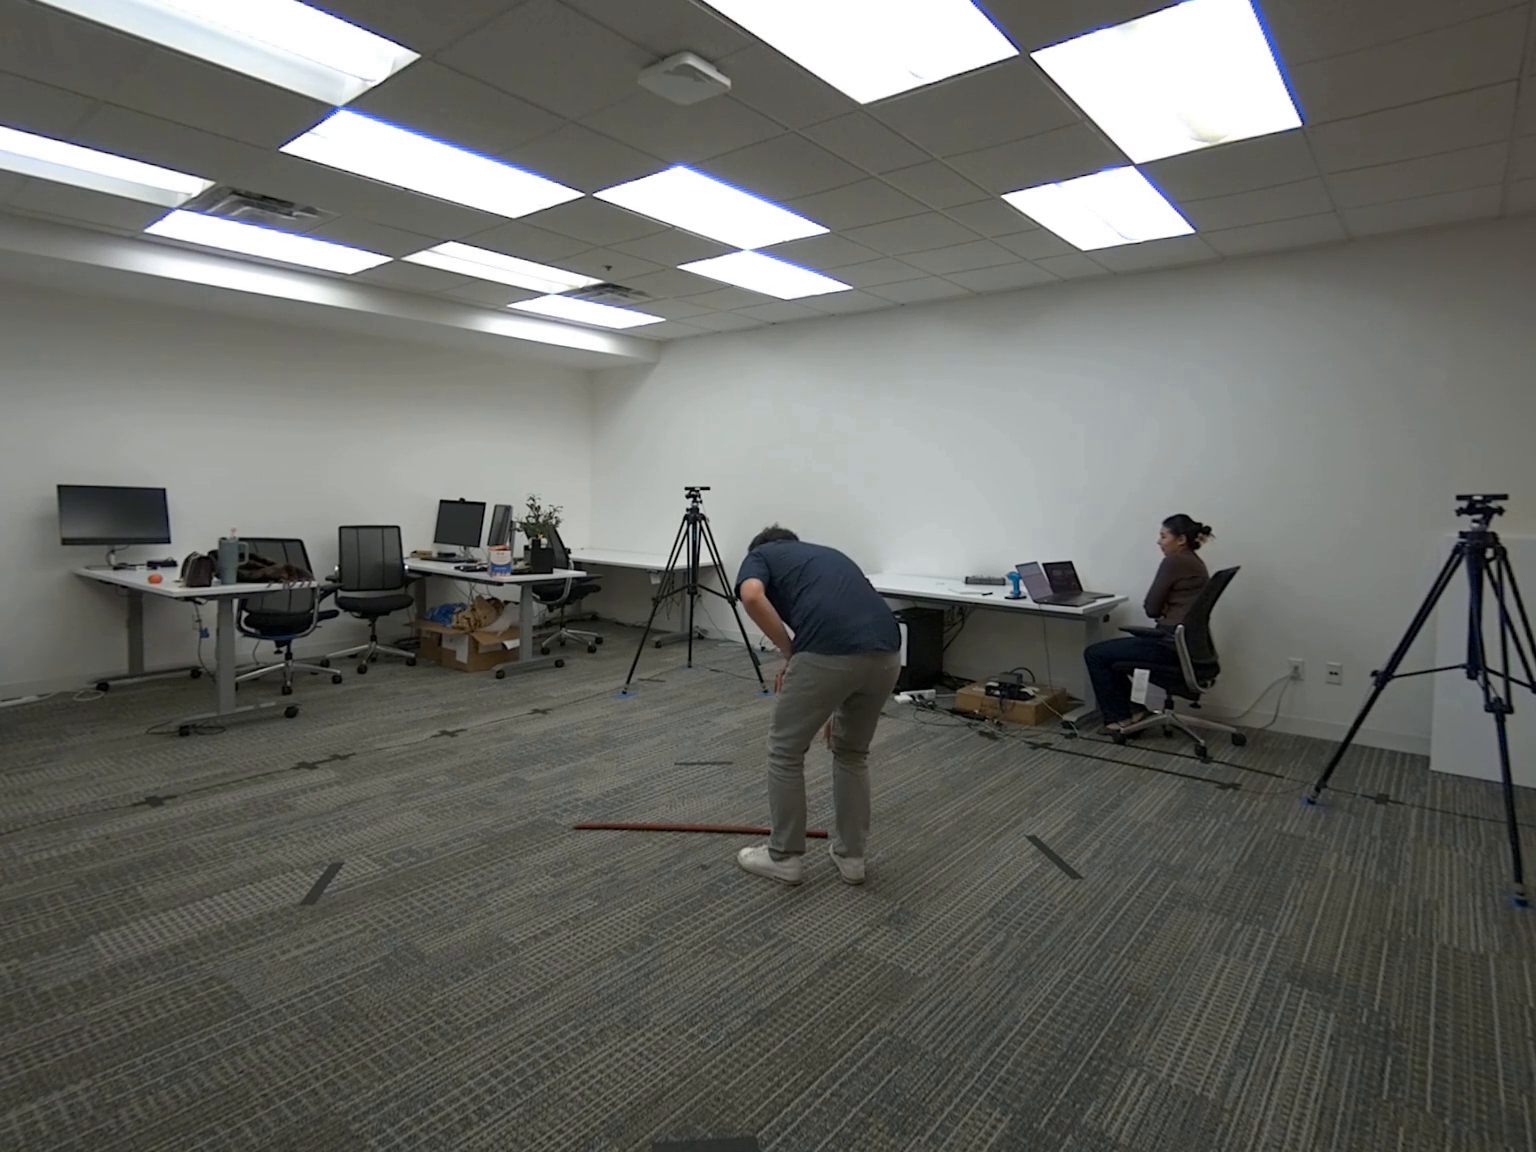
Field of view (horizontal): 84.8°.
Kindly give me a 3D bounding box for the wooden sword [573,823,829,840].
[{"bbox_3d":[-0.294,1.004,3.429,1.027,0.024,0.051,1,10,2],"label":"wooden sword"}]
